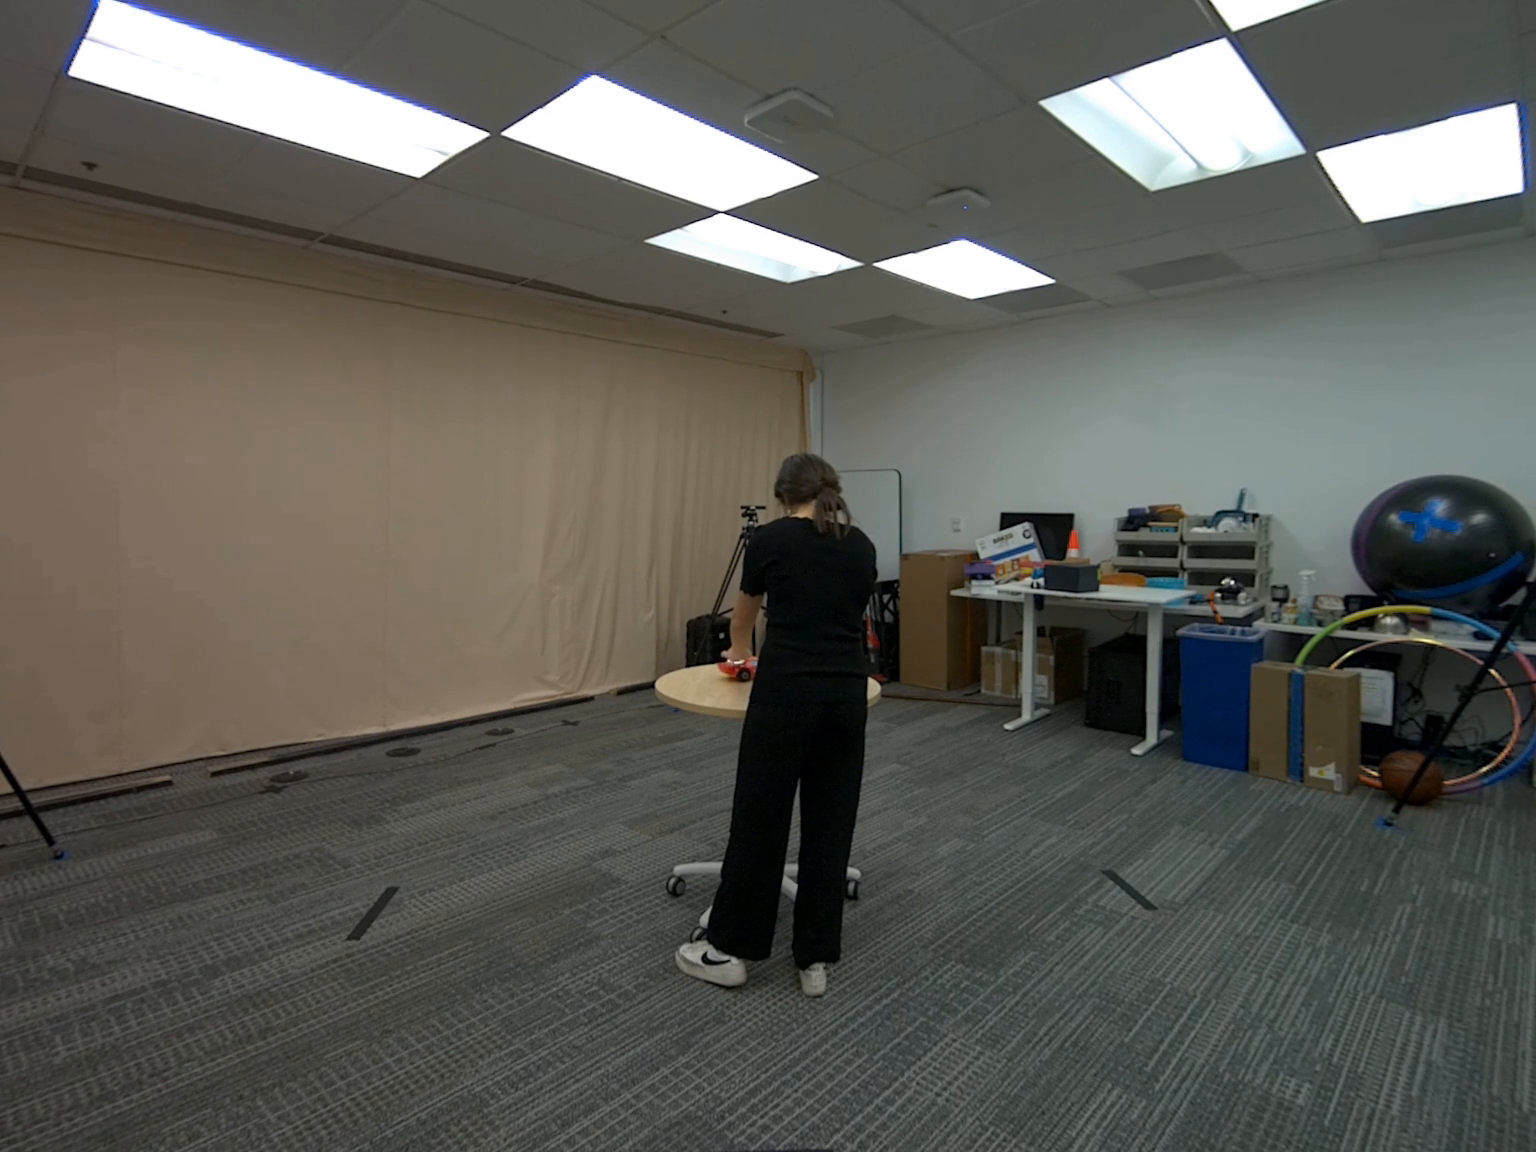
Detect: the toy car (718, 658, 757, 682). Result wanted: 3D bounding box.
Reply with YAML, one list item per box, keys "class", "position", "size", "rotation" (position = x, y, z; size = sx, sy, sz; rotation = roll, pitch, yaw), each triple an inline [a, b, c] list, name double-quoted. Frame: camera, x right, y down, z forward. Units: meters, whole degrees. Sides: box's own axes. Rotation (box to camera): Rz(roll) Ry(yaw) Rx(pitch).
- class: "toy car"
  position: [-0.057, 0.329, 2.967]
  size: [0.249, 0.083, 0.133]
  rotation: [10, 1, -21]
